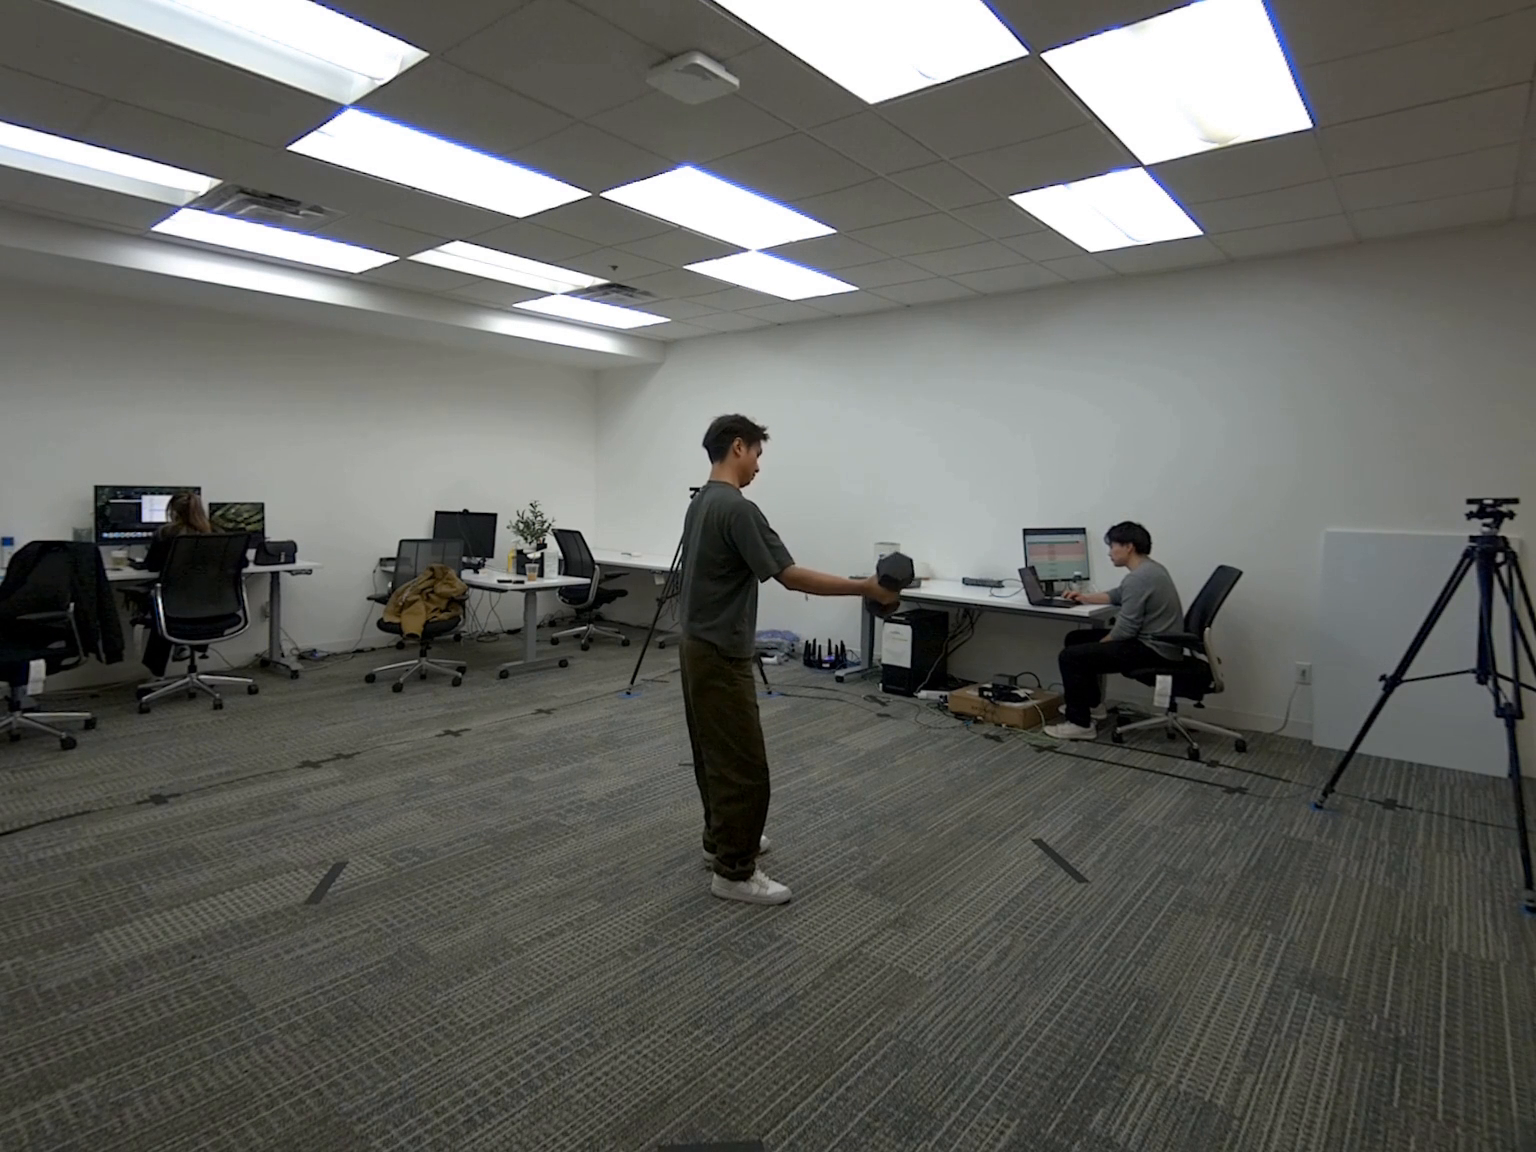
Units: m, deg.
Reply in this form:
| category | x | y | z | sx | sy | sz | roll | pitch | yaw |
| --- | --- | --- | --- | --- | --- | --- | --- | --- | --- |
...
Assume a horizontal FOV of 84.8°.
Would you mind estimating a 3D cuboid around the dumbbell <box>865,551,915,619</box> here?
| category | x | y | z | sx | sy | sz | roll | pitch | yaw |
| --- | --- | --- | --- | --- | --- | --- | --- | --- | --- |
| dumbbell | 0.372 | 0.033 | 2.775 | 0.122 | 0.112 | 0.288 | -30 | -21 | -20 |
